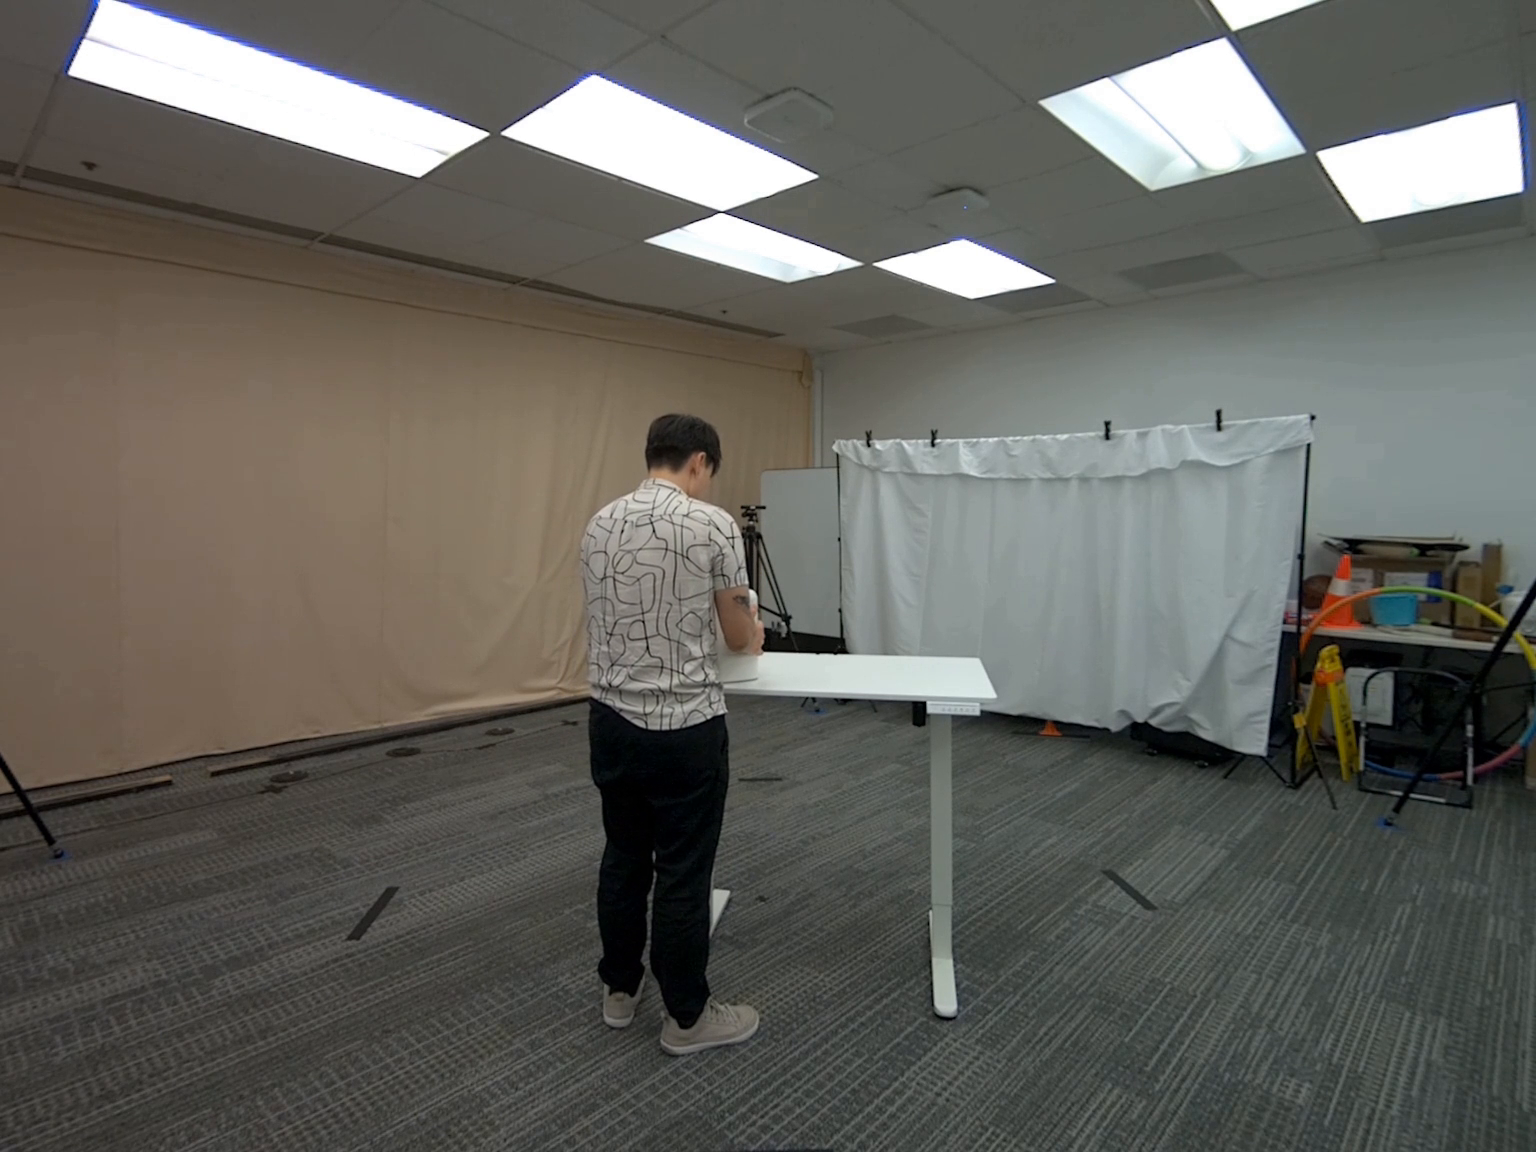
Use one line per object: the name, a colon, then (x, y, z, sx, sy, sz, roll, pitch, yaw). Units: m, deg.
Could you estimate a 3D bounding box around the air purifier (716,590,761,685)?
air purifier: (-0.117, 0.171, 2.494, 0.168, 0.265, 0.175, -1, 4, -21)
